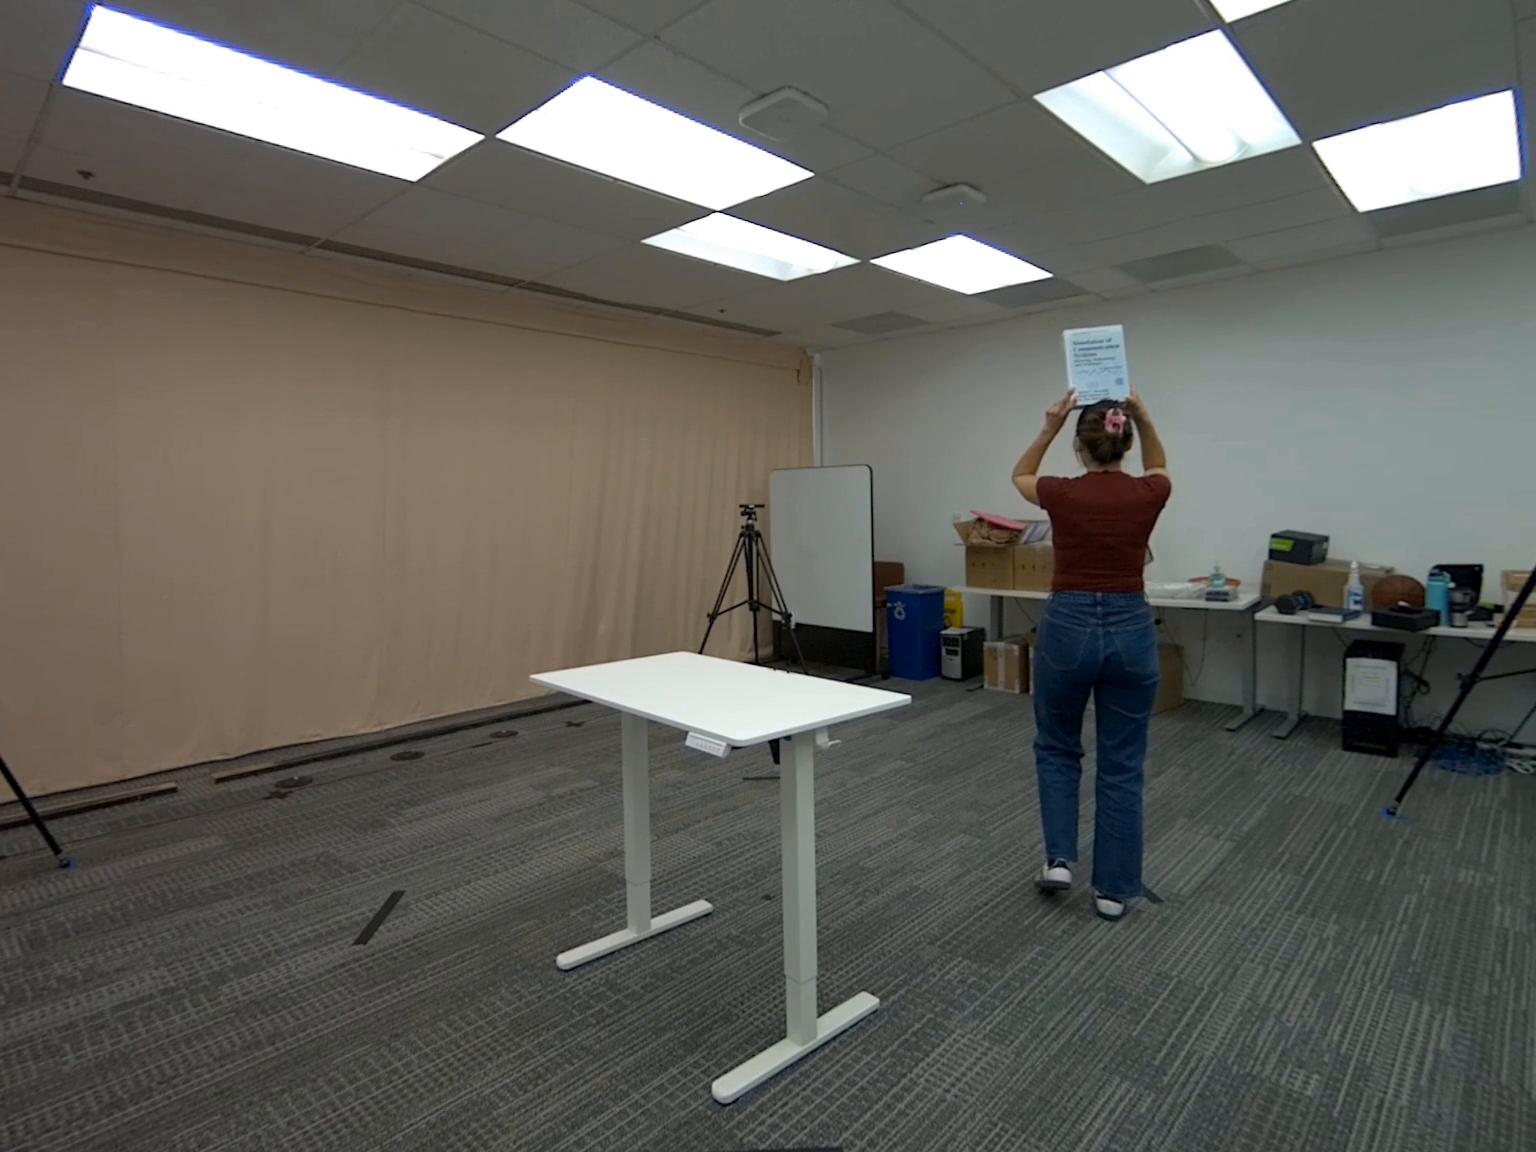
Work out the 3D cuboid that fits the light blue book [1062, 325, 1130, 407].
[{"bbox_3d":[1.107,-0.697,2.823,0.193,0.262,0.058,-4,-7,9],"label":"light blue book"}]
